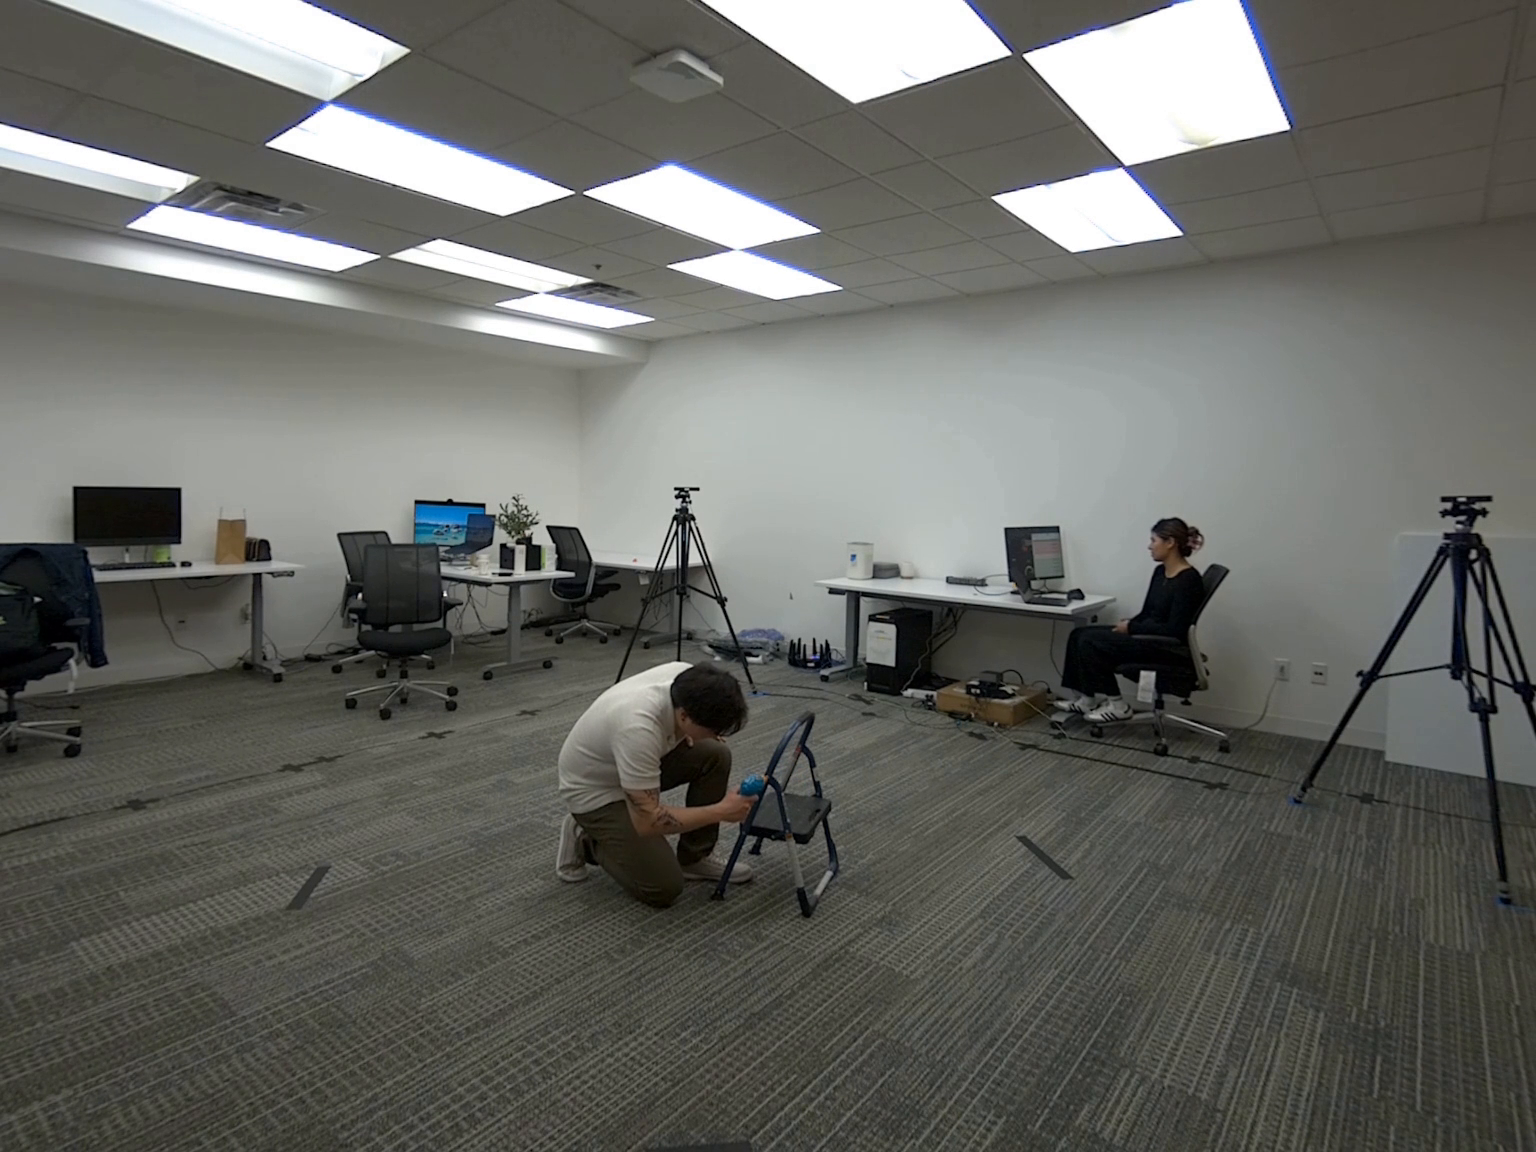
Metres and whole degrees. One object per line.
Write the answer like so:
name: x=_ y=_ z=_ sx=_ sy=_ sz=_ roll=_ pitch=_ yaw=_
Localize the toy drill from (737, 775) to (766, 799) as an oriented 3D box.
toy drill: x=-0.071 y=0.690 z=2.724 sx=0.063 sy=0.145 sz=0.165 roll=42 pitch=18 yaw=19
